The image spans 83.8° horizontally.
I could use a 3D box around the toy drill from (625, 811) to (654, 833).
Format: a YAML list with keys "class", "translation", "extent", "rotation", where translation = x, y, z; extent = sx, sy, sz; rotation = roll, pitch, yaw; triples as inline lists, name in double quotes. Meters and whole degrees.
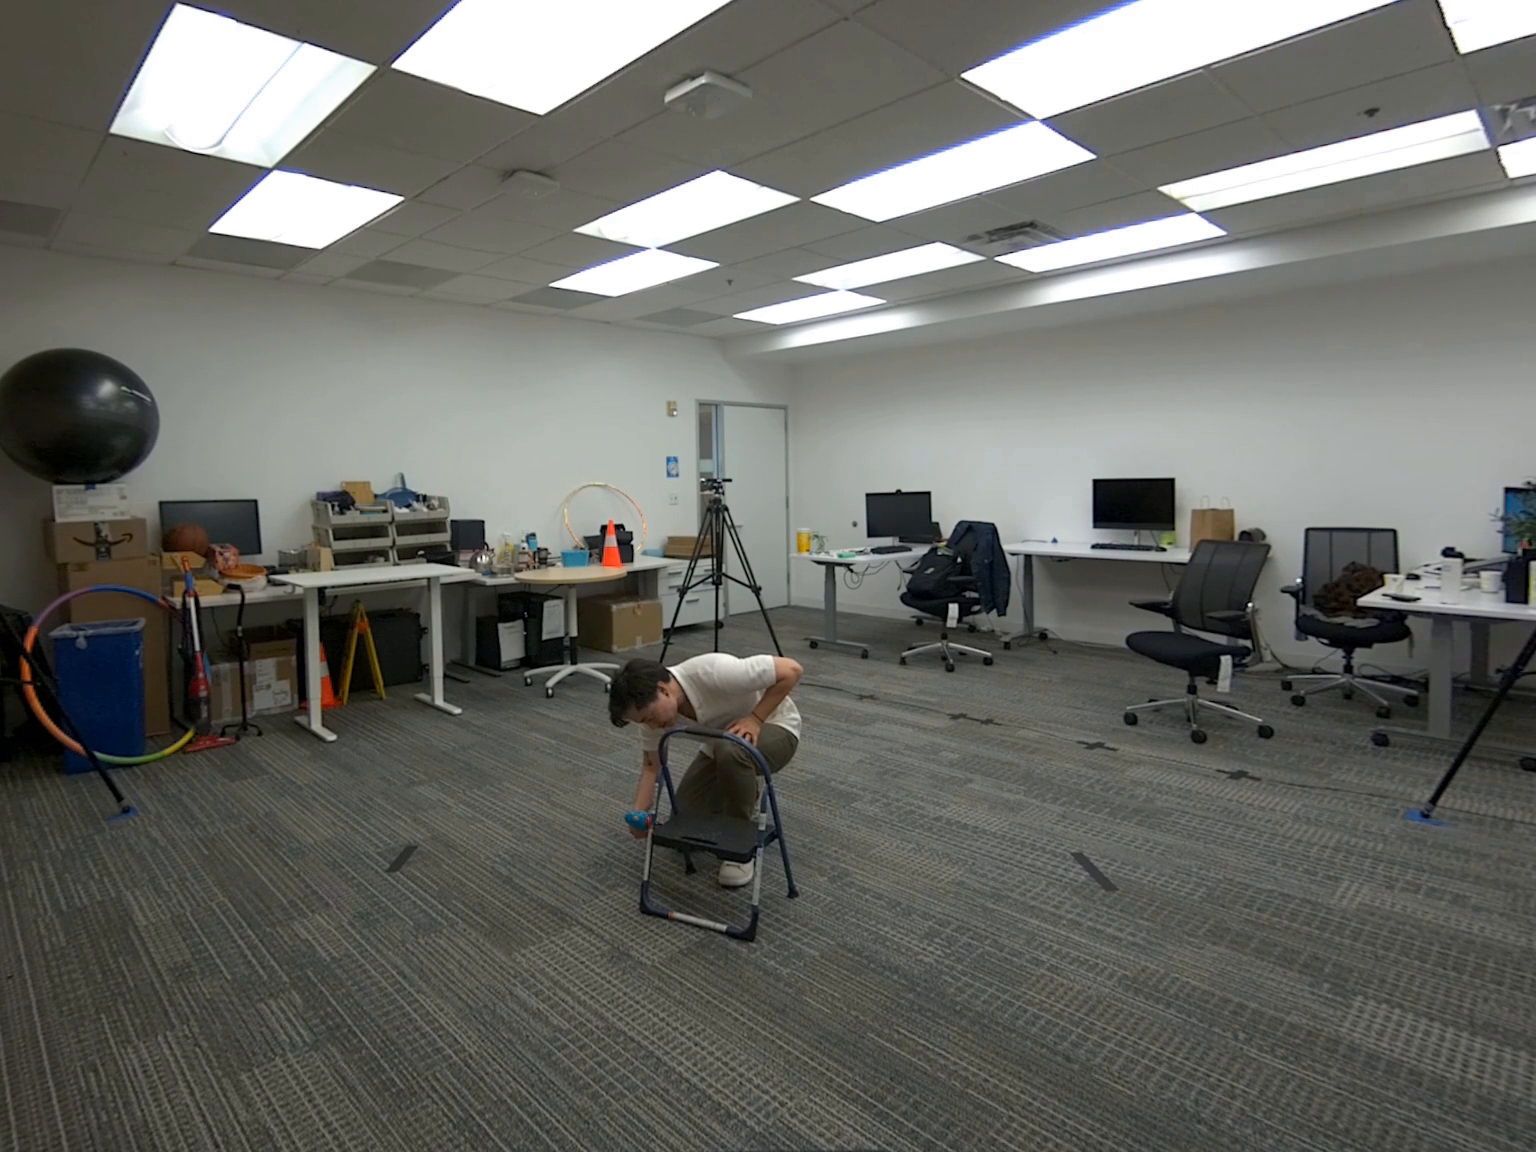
- class: "toy drill"
  translation: [-0.406, 0.857, 2.951]
  extent: [0.174, 0.062, 0.140]
  rotation: [-2, -27, 32]
